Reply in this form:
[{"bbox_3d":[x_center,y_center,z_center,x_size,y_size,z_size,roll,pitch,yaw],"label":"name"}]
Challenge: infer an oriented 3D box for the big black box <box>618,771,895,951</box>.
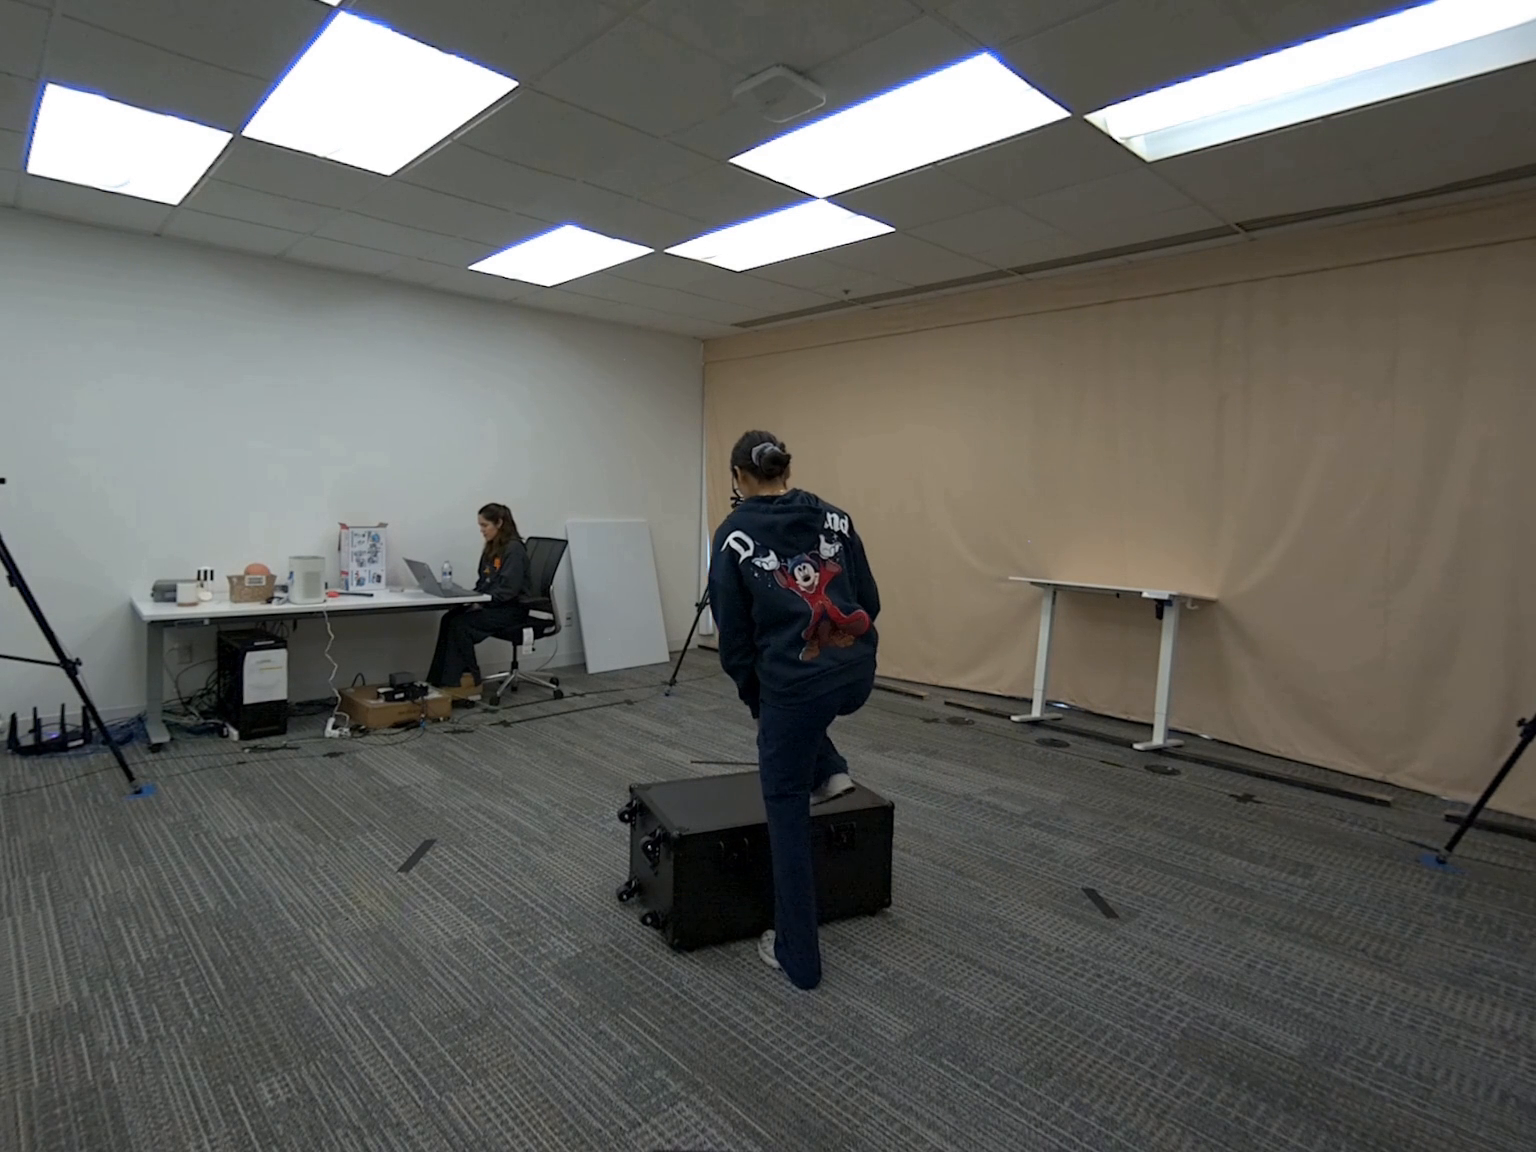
[{"bbox_3d":[-0.064,0.955,2.887,0.846,0.520,0.404,-1,3,-25],"label":"big black box"}]
